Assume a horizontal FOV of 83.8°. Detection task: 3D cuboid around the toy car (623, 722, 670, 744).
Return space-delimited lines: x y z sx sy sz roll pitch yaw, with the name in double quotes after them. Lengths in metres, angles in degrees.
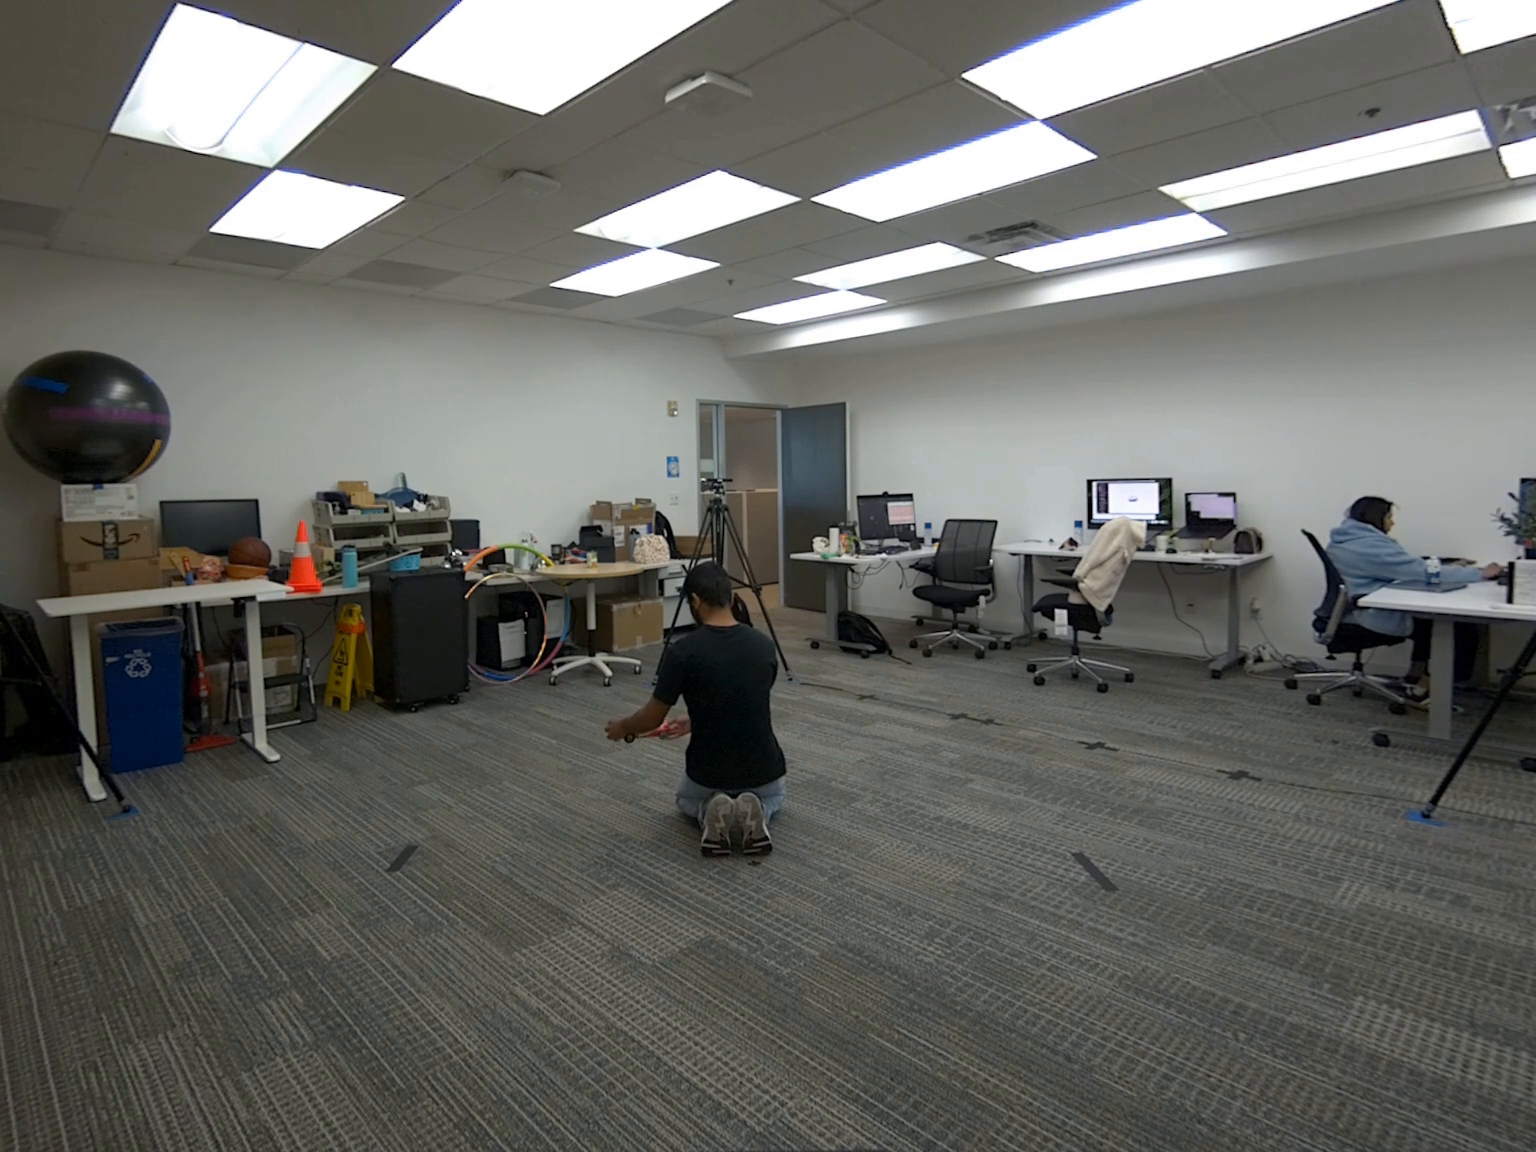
-0.540 0.655 3.620 0.250 0.083 0.133 9 4 -17 "toy car"
